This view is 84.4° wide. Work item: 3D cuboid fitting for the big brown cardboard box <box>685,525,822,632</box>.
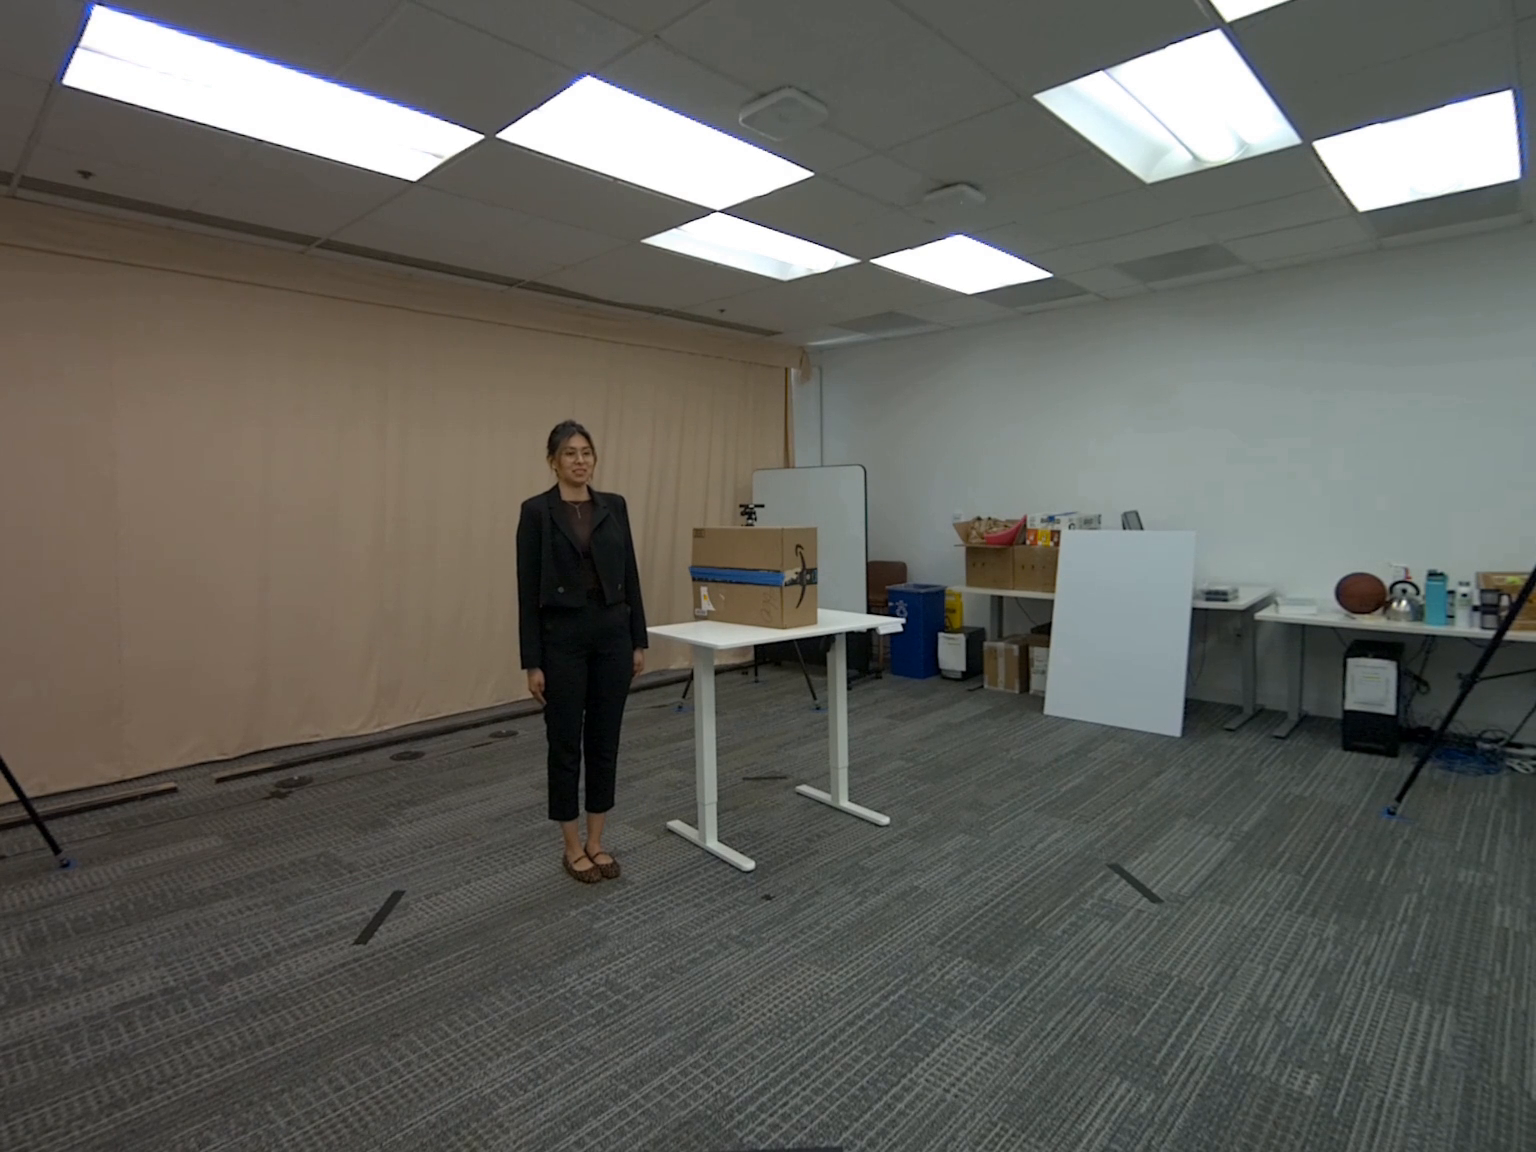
[{"bbox_3d":[-0.076,-0.008,3.689,0.226,0.417,0.608,-4,5,-44],"label":"big brown cardboard box"}]
